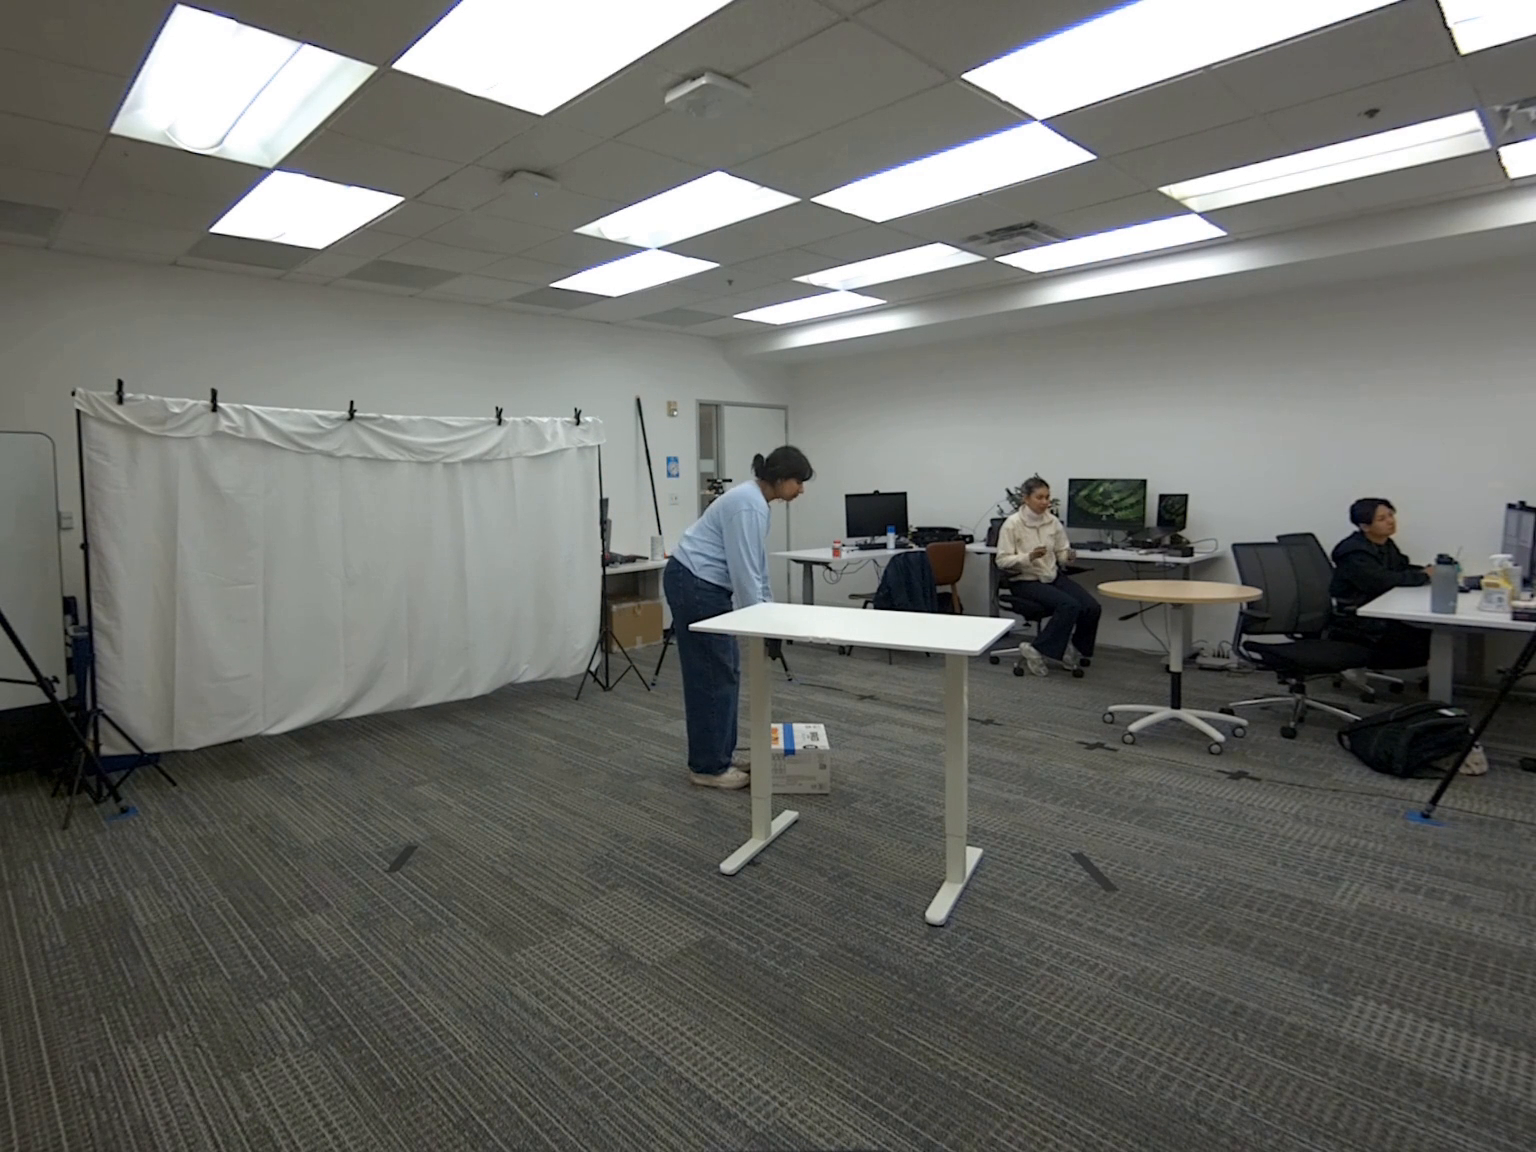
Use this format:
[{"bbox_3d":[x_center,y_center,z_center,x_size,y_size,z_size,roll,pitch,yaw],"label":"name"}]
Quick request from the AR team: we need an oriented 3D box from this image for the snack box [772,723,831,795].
[{"bbox_3d":[0.097,0.838,3.964,0.341,0.205,0.406,-1,5,1],"label":"snack box"}]
